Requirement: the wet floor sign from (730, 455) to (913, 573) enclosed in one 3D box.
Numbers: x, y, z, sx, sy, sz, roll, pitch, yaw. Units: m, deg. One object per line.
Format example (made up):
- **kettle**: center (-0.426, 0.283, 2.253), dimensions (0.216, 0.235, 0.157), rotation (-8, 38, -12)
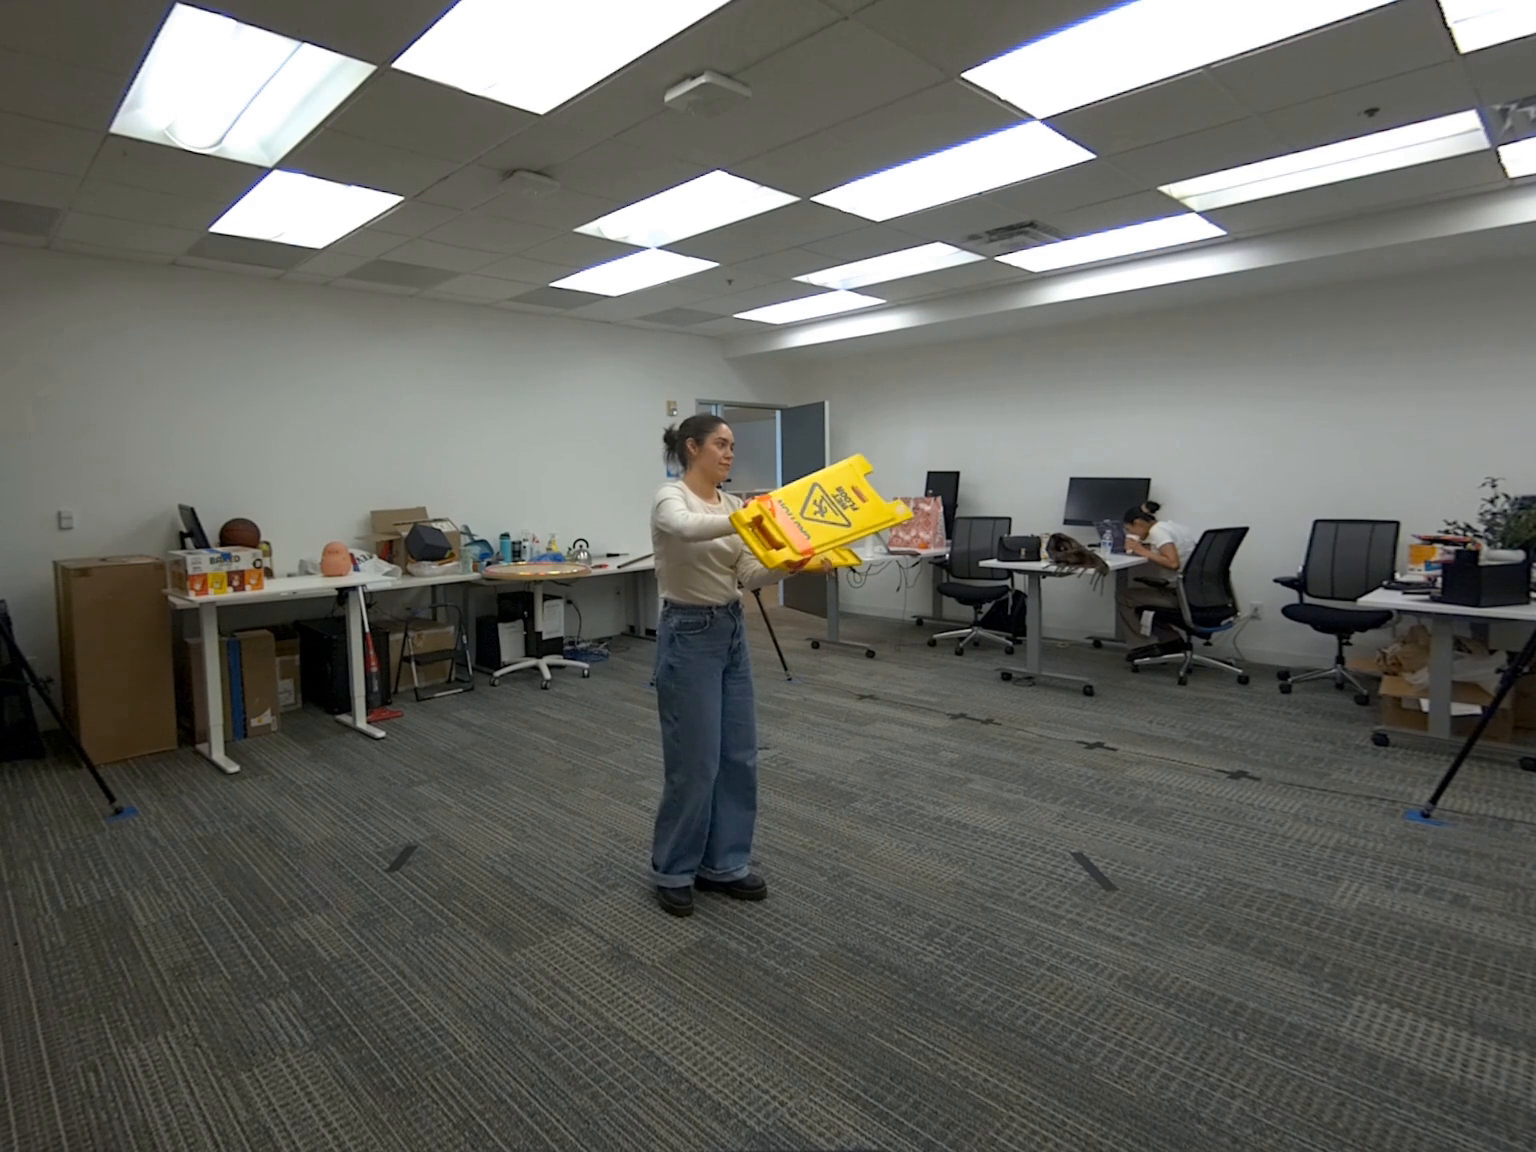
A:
- **wet floor sign**: center (0.129, -0.155, 2.591), dimensions (0.289, 0.288, 0.633), rotation (-47, -17, 32)
